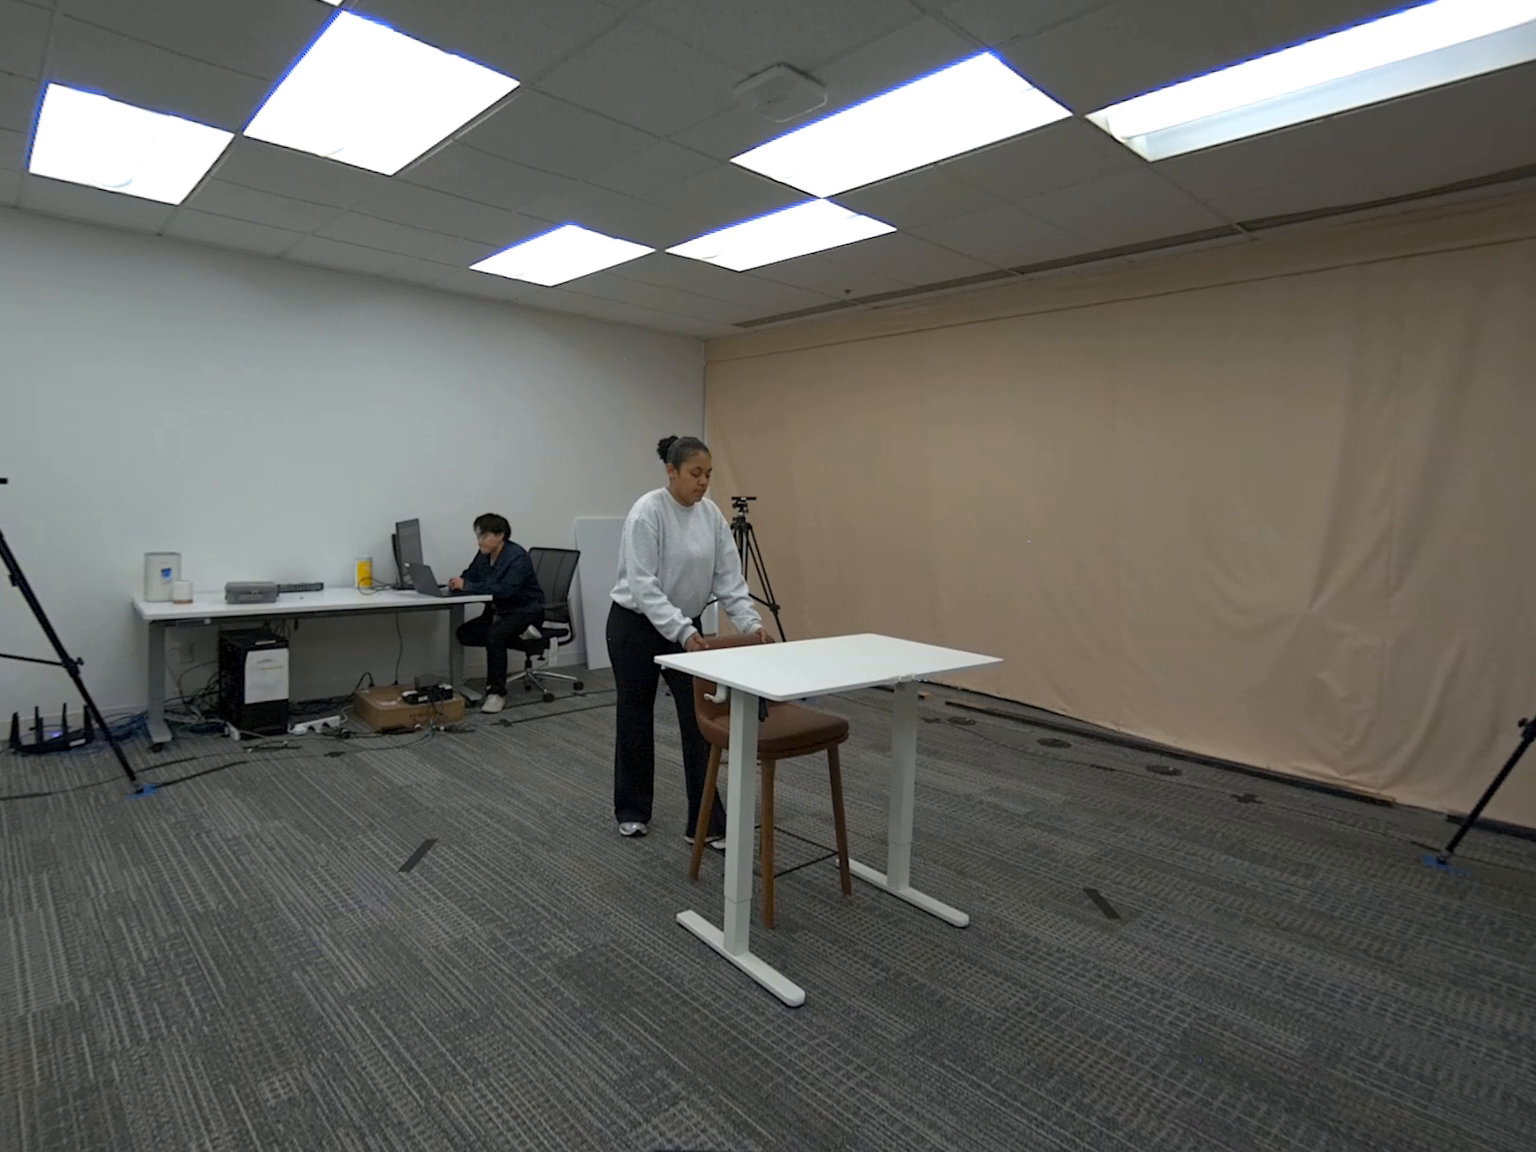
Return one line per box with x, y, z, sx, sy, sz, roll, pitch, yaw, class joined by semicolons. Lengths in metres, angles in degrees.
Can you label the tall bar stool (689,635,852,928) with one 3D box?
-0.004;0.679;3.004;0.446;0.889;0.479;-2;2;-41;tall bar stool
